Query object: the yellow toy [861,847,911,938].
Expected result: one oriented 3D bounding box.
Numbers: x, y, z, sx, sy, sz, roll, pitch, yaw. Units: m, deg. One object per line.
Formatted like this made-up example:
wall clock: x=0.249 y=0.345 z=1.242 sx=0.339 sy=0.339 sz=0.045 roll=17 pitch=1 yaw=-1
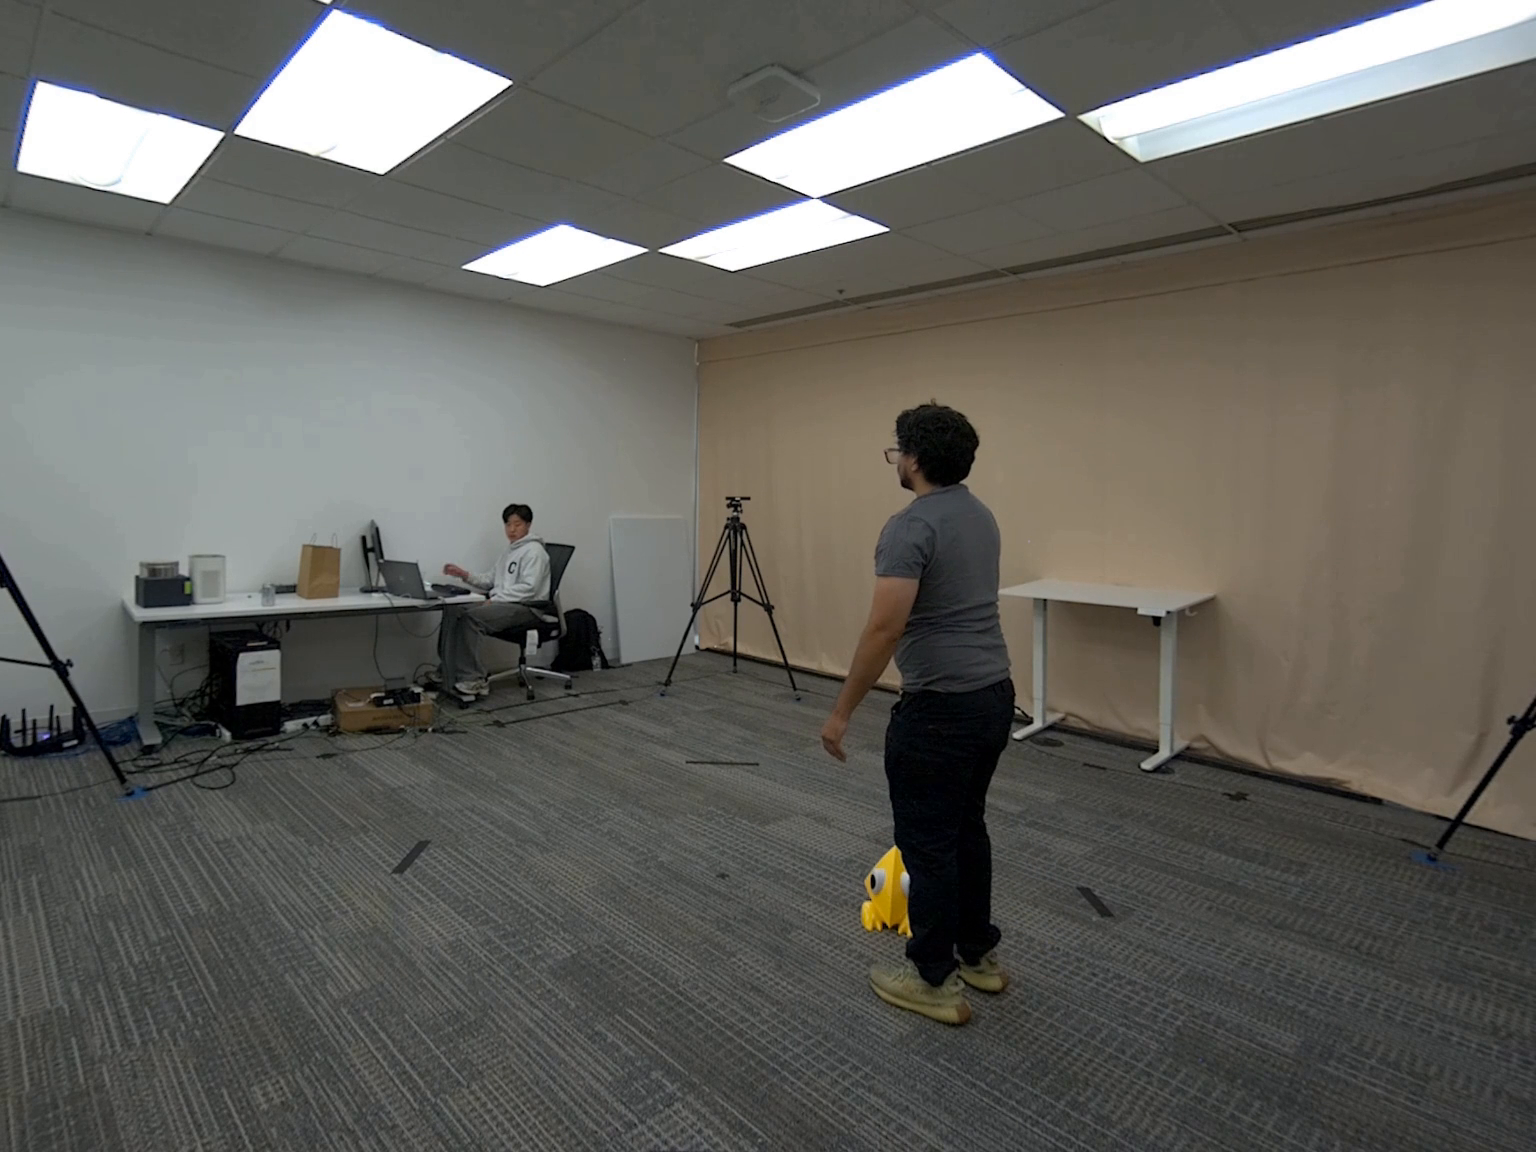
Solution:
yellow toy: x=0.409 y=1.034 z=2.787 sx=0.207 sy=0.230 sz=0.191 roll=3 pitch=5 yaw=13
